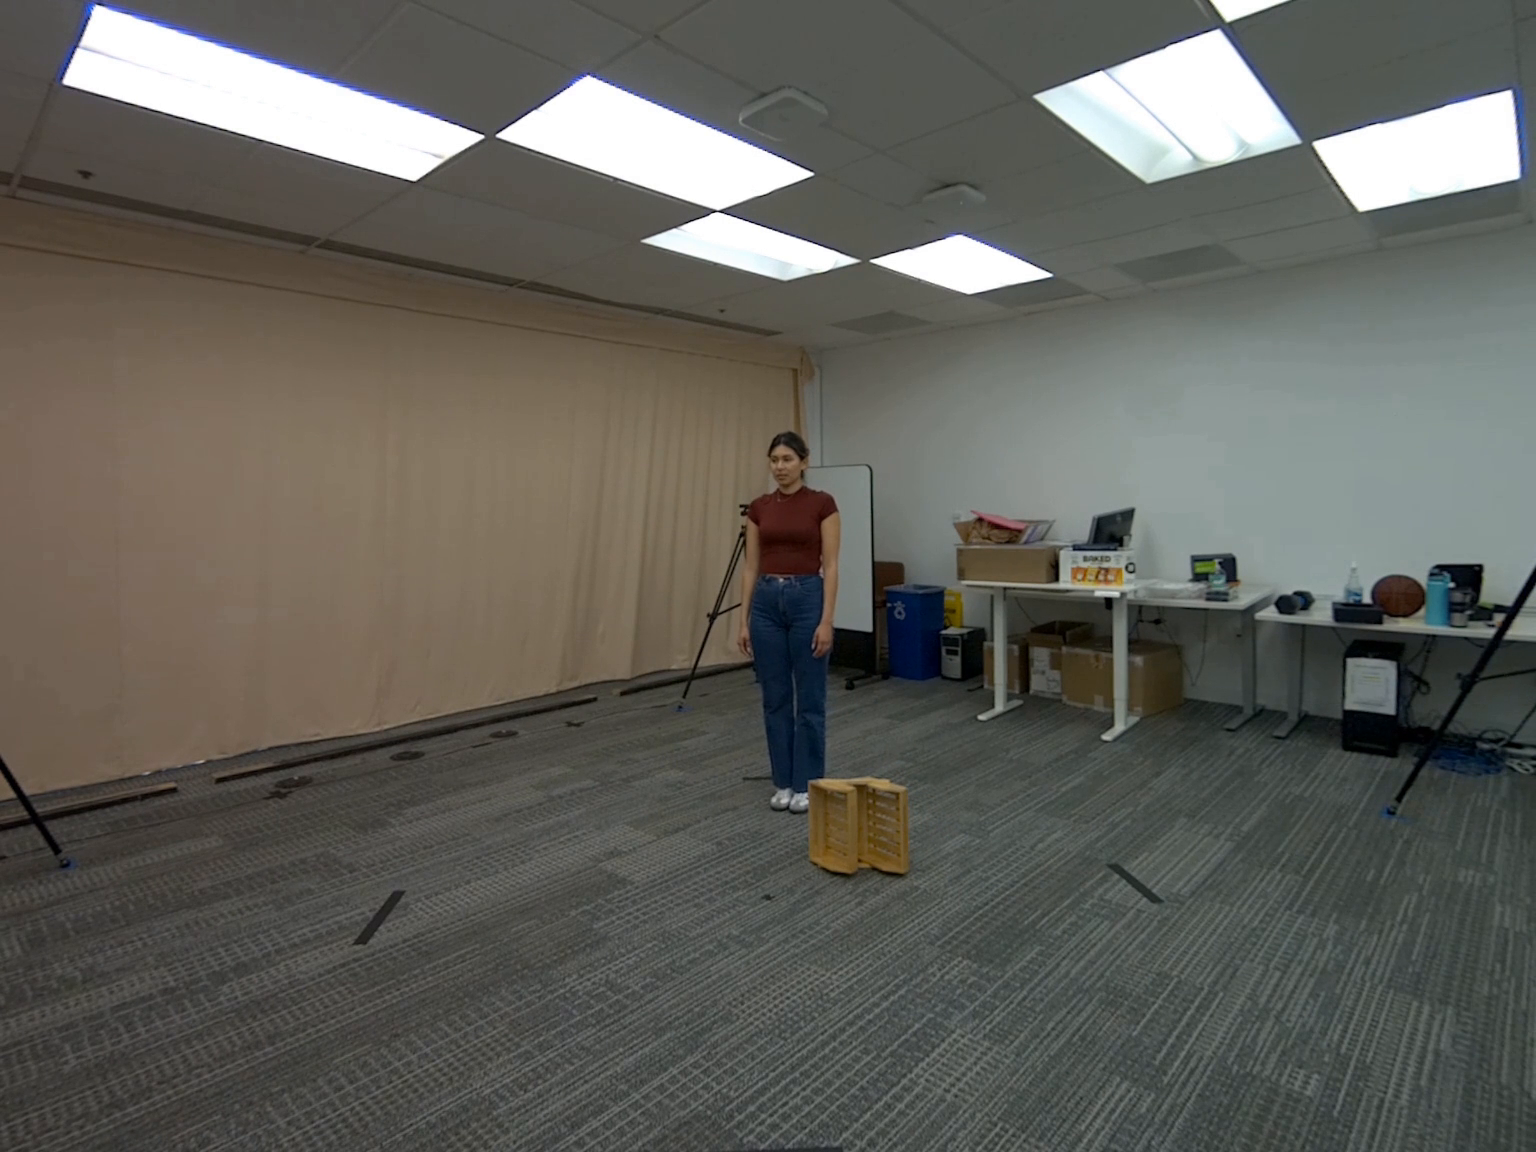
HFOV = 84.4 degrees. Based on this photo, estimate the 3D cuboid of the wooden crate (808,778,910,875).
[{"bbox_3d":[0.348,0.947,3.201,0.266,0.325,0.309,1,-3,-29],"label":"wooden crate"}]
